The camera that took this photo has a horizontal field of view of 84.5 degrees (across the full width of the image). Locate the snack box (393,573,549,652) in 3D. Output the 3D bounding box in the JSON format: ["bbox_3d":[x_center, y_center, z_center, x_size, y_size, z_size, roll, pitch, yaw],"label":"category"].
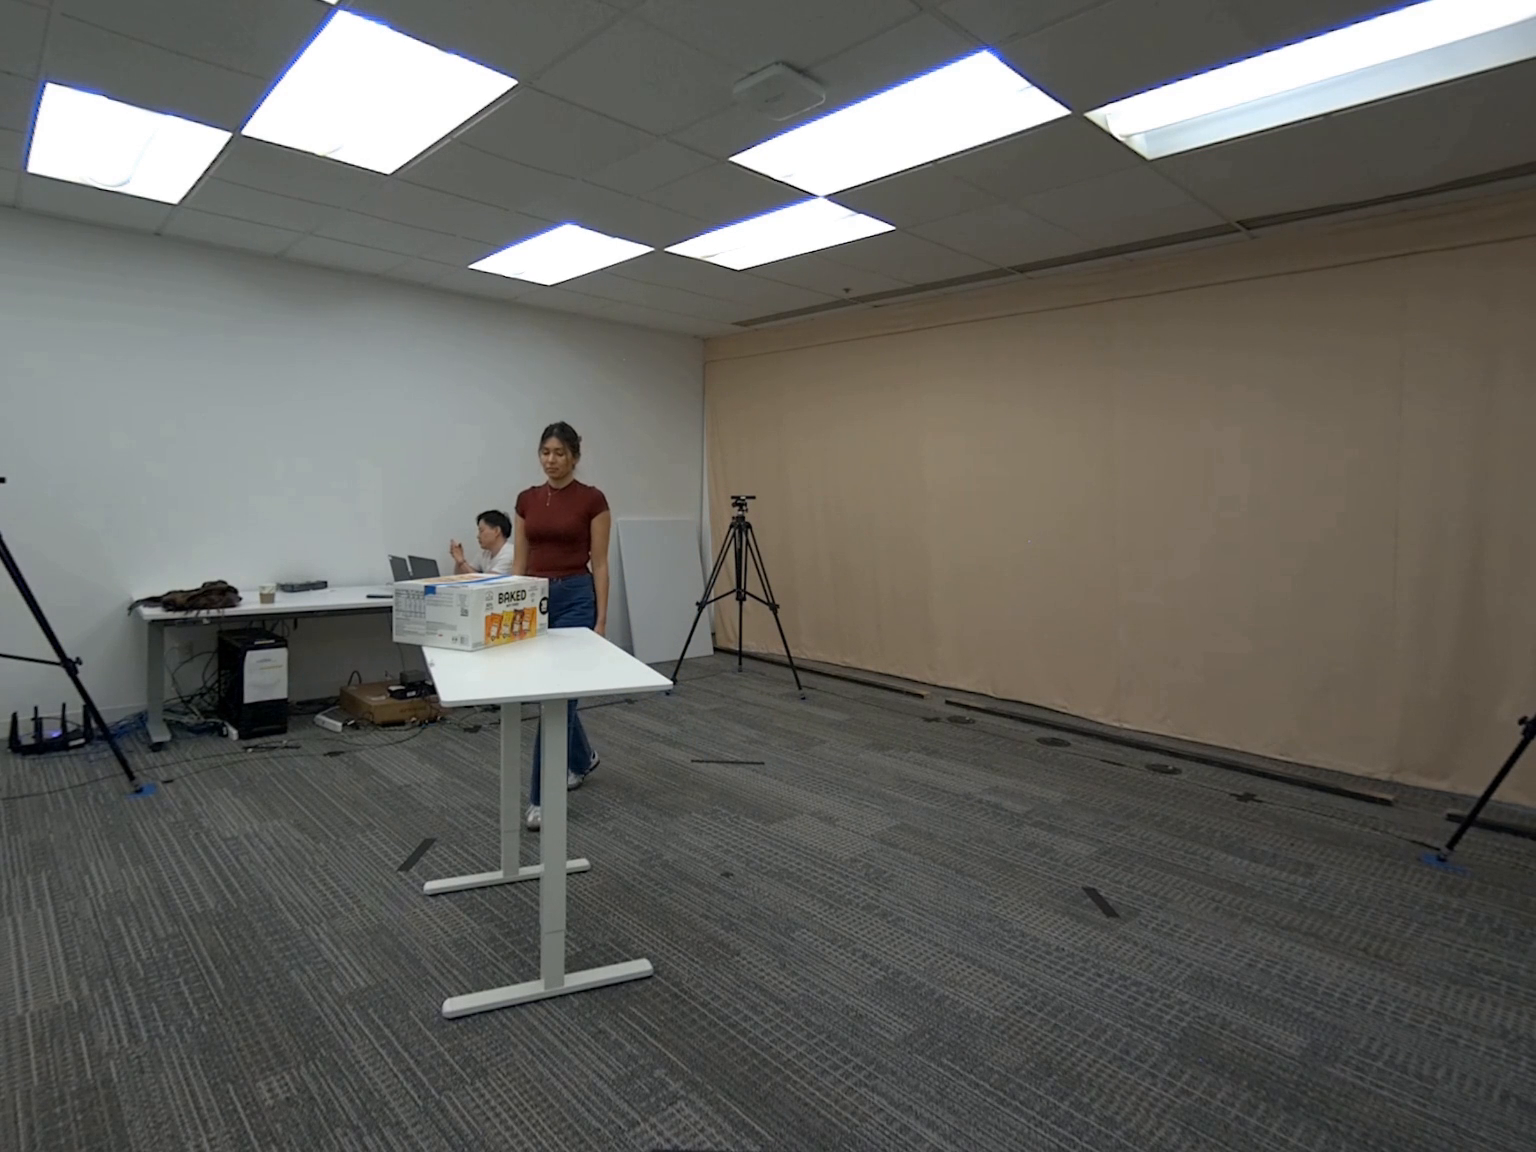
[{"bbox_3d":[-1.039,0.118,2.922,0.346,0.205,0.399,3,5,22],"label":"snack box"}]
